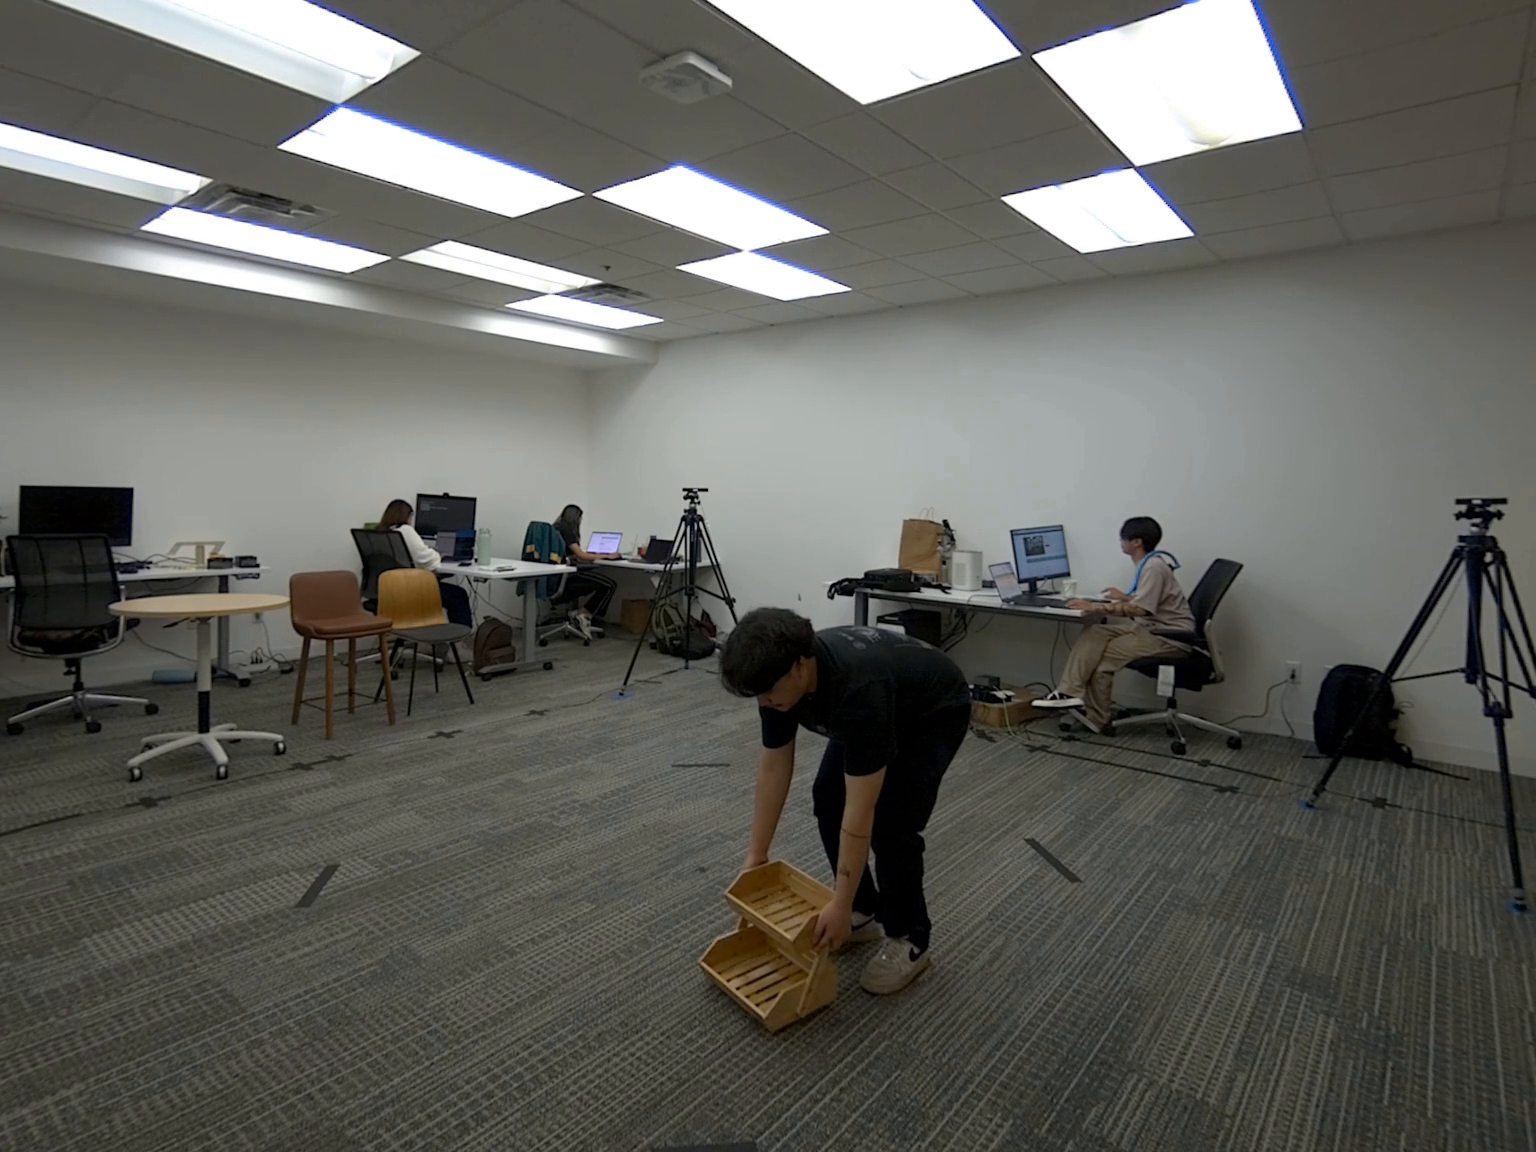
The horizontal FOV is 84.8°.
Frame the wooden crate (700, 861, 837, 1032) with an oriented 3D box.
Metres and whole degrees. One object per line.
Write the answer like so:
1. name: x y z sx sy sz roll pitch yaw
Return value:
1. wooden crate: 0.009 0.997 2.343 0.293 0.272 0.335 -5 8 -37
